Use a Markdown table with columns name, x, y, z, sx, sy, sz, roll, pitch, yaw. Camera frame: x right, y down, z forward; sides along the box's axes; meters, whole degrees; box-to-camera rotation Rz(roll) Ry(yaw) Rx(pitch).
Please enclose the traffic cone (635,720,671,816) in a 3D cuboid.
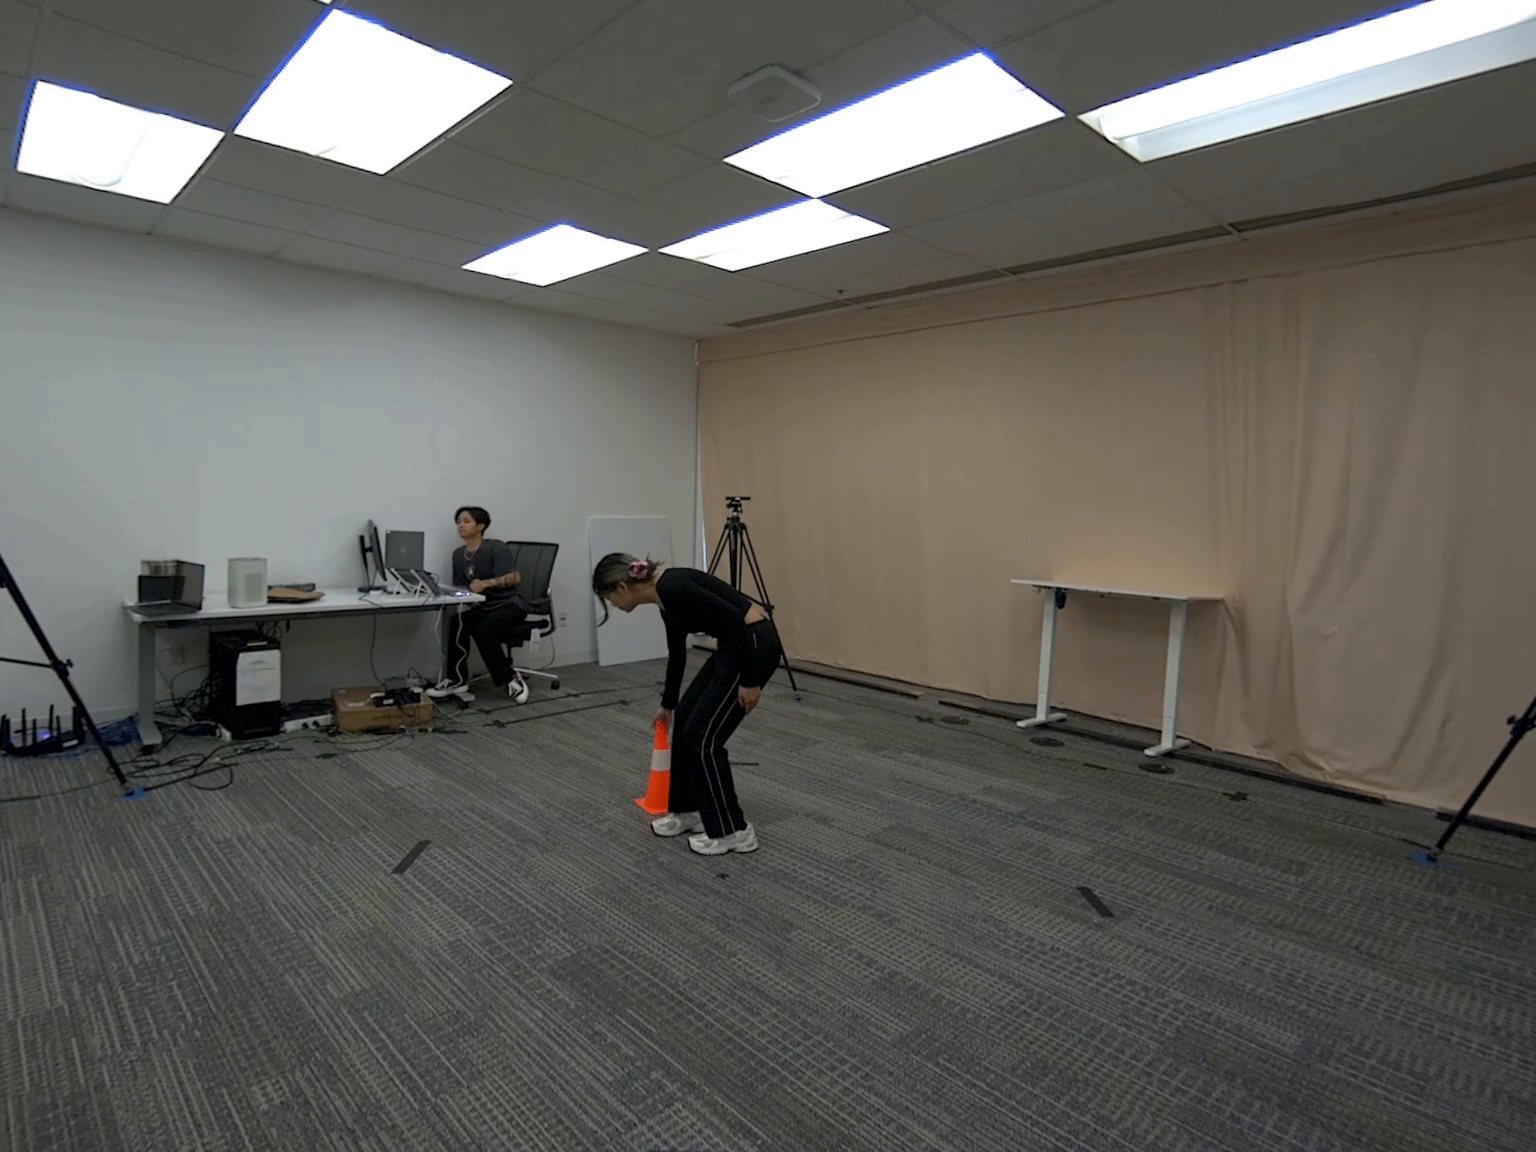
| name | x | y | z | sx | sy | sz | roll | pitch | yaw |
| --- | --- | --- | --- | --- | --- | --- | --- | --- | --- |
| traffic cone | -0.491 | 0.851 | 3.820 | 0.199 | 0.383 | 0.210 | -1 | 3 | -34 |
